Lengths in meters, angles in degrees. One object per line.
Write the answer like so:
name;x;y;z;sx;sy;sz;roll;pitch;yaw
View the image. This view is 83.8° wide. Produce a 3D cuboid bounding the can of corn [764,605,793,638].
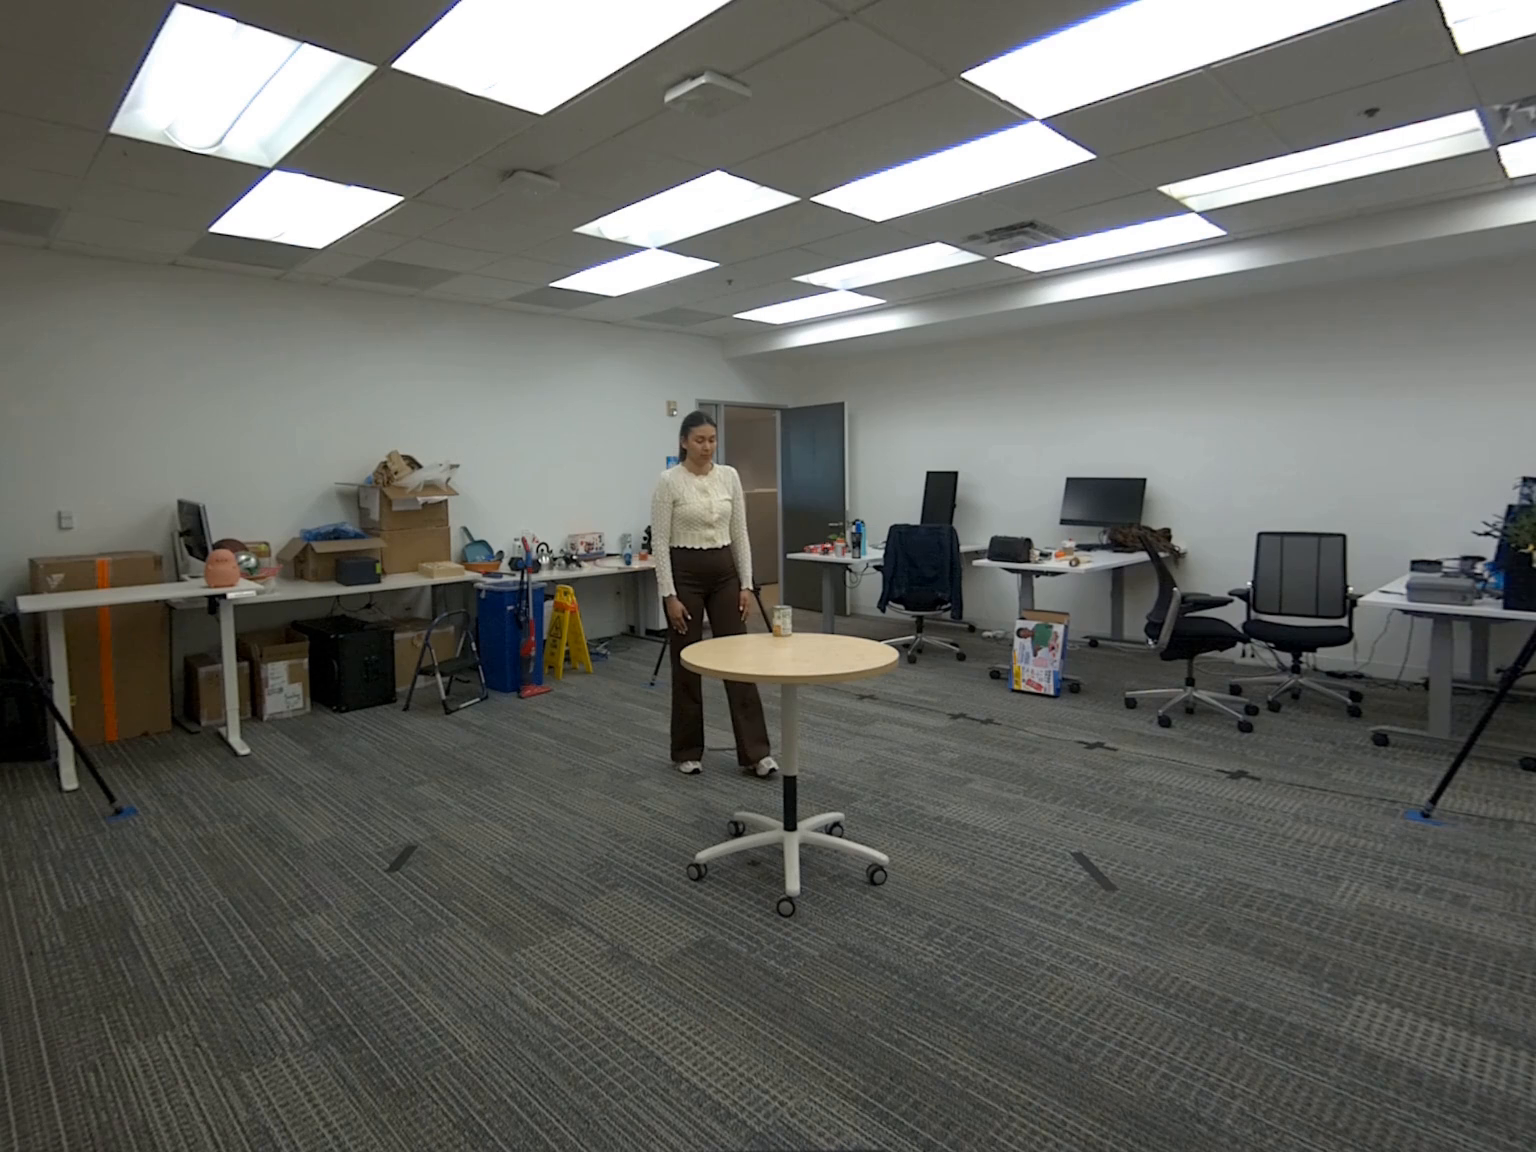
can of corn;0.054;0.180;3.351;0.074;0.110;0.074;0;4;-2
